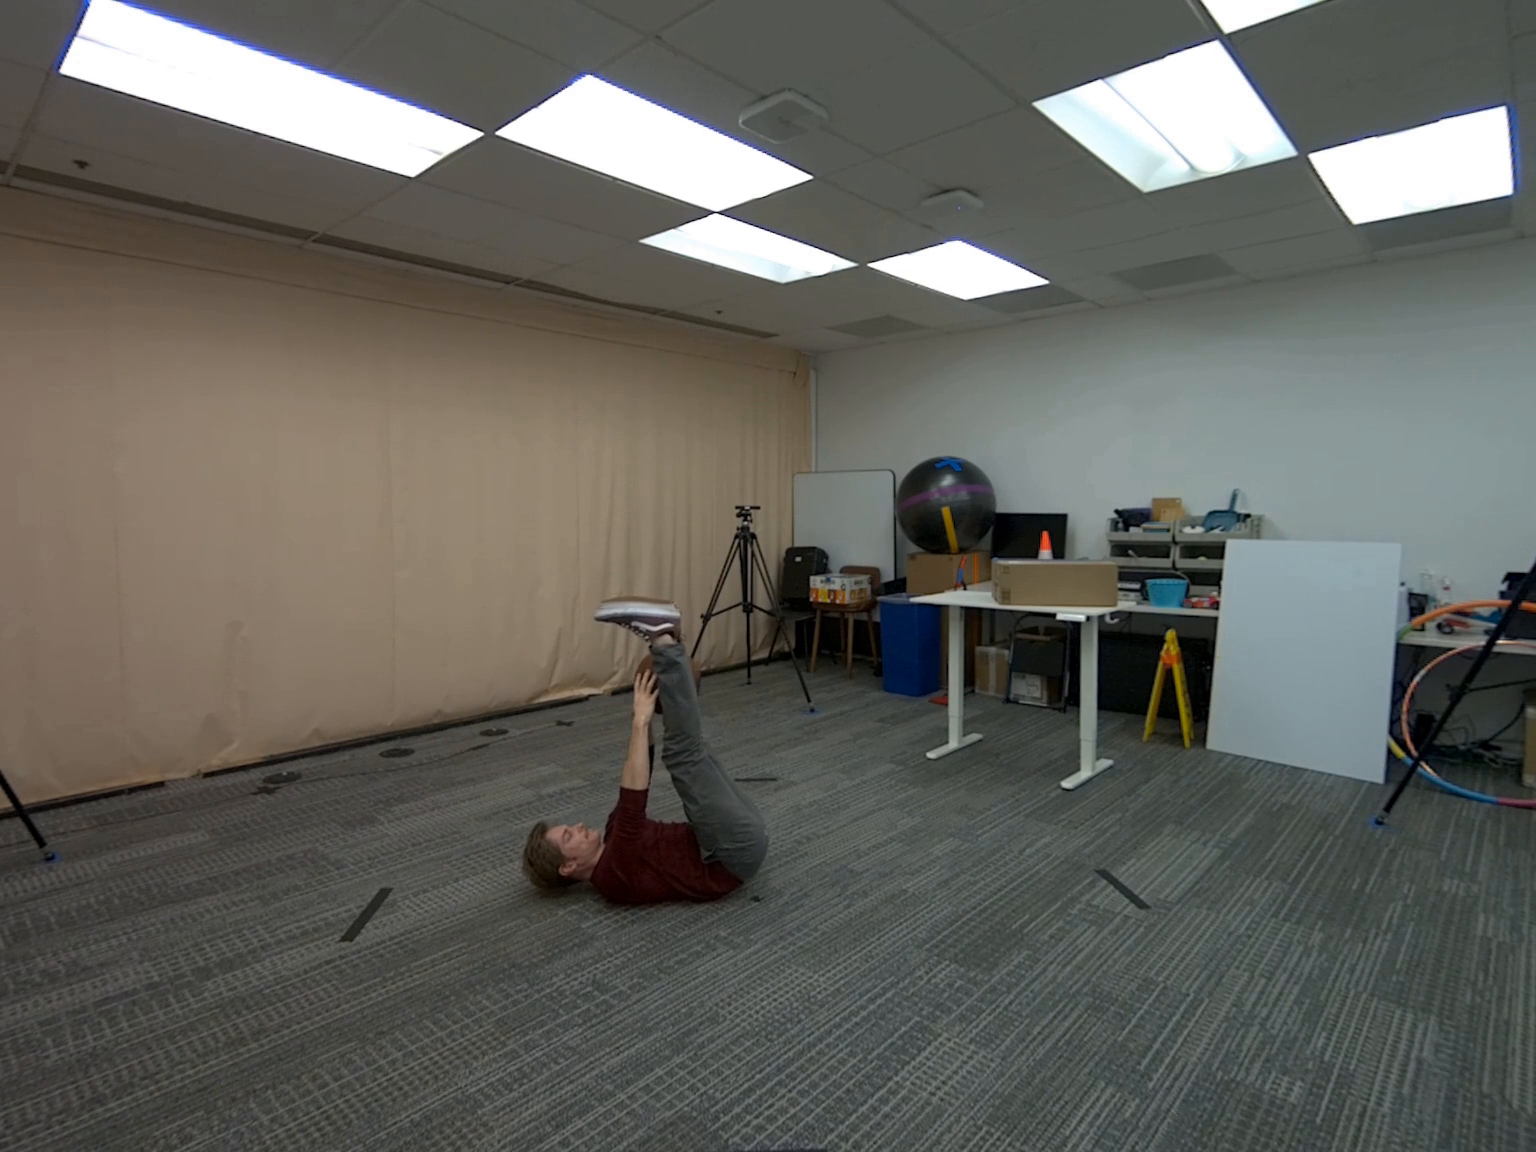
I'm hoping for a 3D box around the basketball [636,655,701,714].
[{"bbox_3d":[-0.355,0.374,3.027,0.236,0.235,0.237,0,4,-2],"label":"basketball"}]
